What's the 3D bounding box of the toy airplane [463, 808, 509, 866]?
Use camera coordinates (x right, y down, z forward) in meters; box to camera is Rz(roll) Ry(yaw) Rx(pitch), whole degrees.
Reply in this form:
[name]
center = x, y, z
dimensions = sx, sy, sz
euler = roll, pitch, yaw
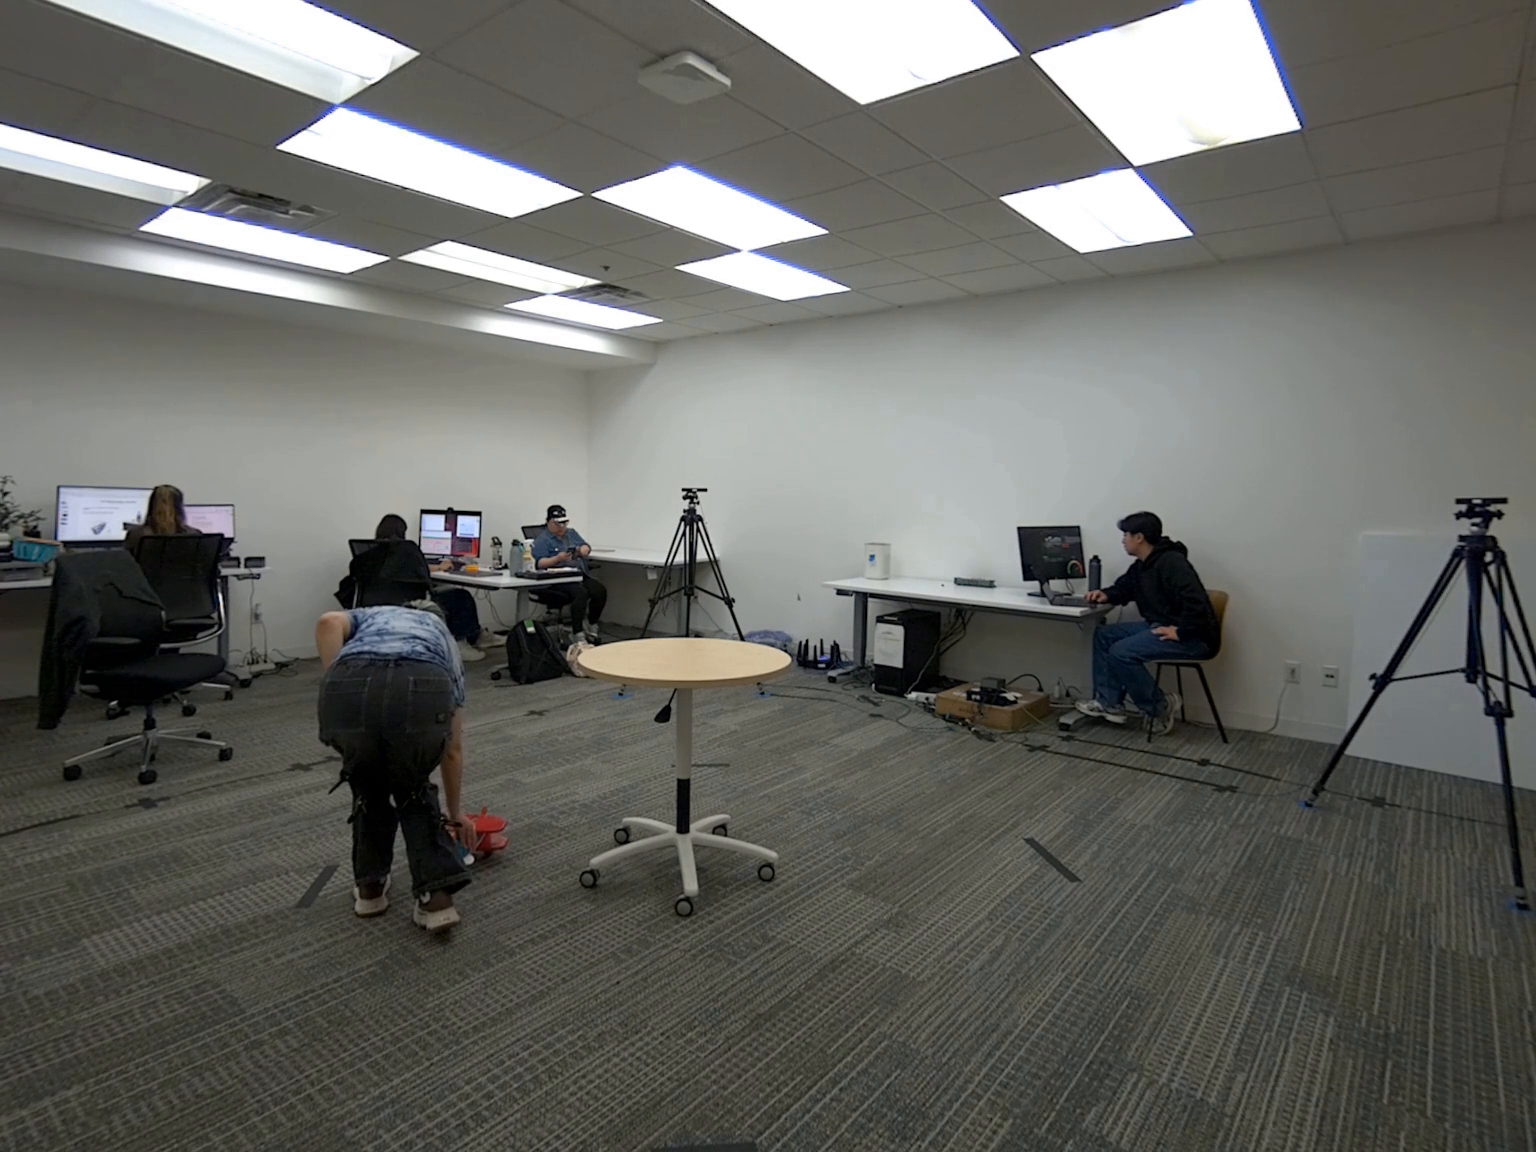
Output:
[toy airplane]
center = -1.096, 0.980, 3.136
dimensions = 0.246, 0.156, 0.265
euler = 0, 4, -22
